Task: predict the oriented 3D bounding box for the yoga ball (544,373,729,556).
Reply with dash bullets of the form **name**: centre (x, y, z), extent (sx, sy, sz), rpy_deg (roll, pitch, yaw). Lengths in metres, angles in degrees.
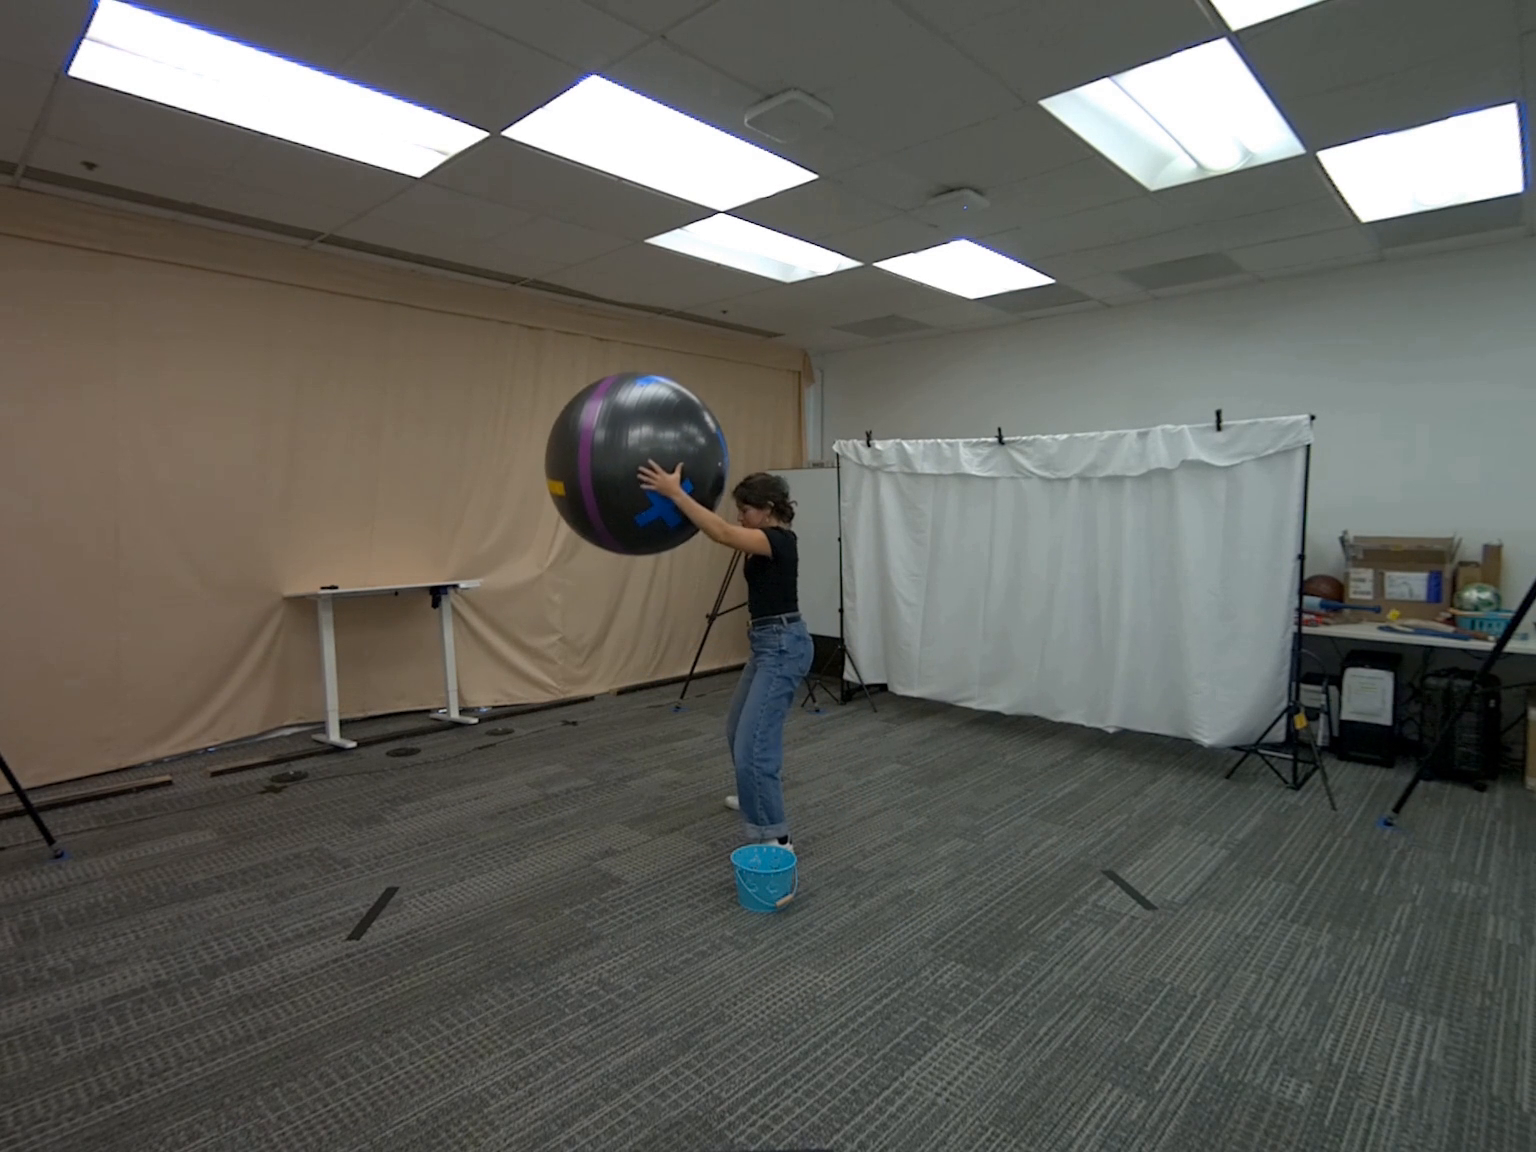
- **yoga ball**: centre (-0.544, -0.442, 3.510), extent (0.757, 0.756, 0.760), rpy_deg (0, 4, -2)
